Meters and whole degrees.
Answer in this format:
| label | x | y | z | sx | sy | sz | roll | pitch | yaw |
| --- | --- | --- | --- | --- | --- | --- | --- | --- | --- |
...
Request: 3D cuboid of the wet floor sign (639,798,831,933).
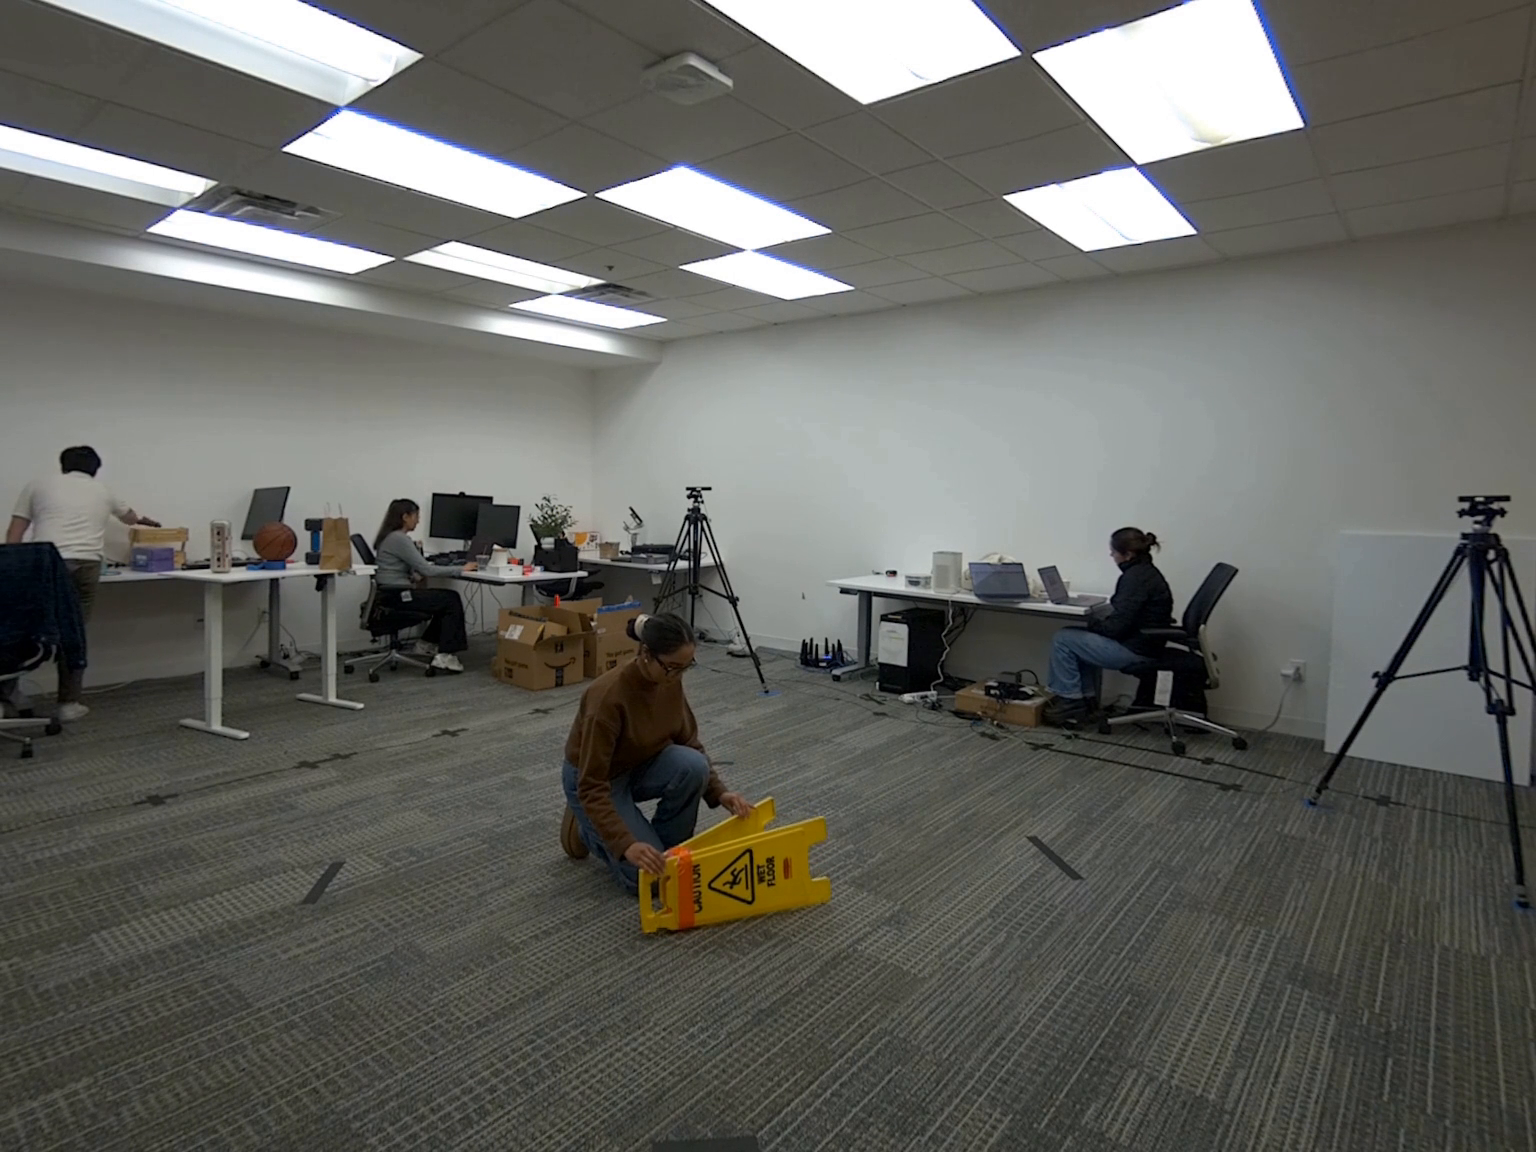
| label | x | y | z | sx | sy | sz | roll | pitch | yaw |
| --- | --- | --- | --- | --- | --- | --- | --- | --- | --- |
| wet floor sign | -0.143 | 0.967 | 2.782 | 0.628 | 0.282 | 0.298 | -5 | 2 | -36 |
